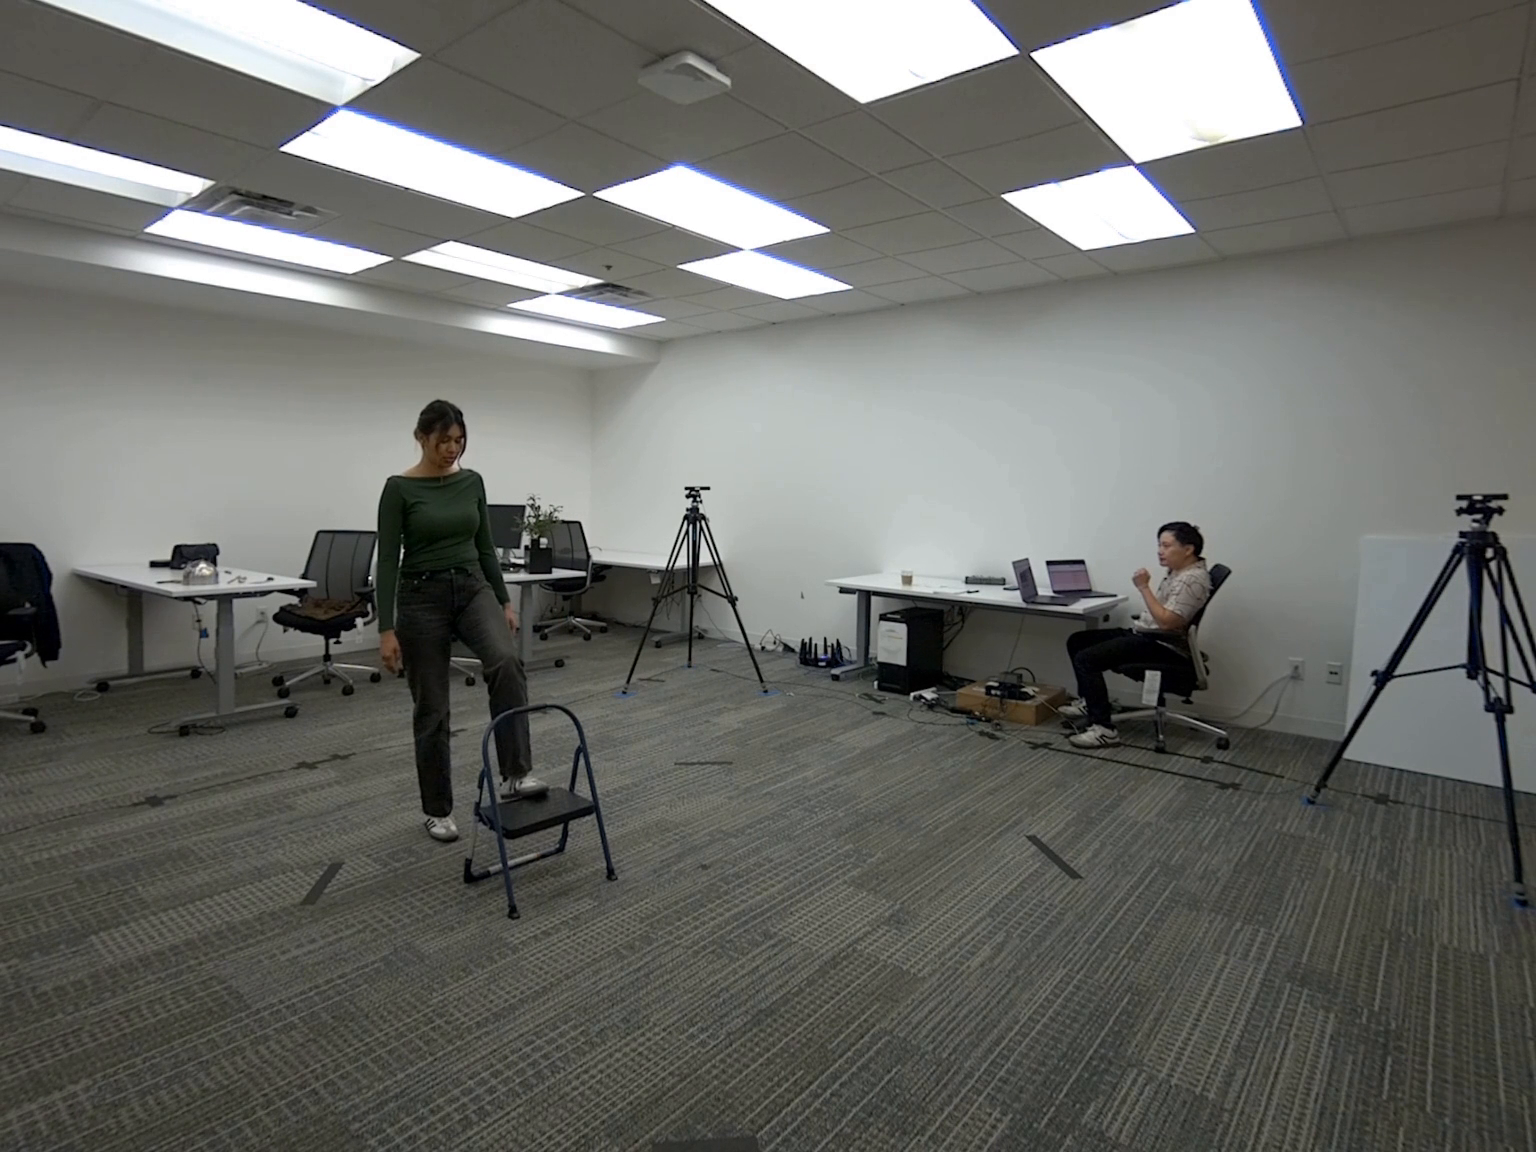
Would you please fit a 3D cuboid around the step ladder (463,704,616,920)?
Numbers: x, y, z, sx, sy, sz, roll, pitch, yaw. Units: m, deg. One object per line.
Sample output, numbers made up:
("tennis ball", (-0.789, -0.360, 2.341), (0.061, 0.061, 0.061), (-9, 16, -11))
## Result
("step ladder", (-0.808, 0.768, 2.976), (0.361, 0.604, 0.417), (3, 4, 43))
